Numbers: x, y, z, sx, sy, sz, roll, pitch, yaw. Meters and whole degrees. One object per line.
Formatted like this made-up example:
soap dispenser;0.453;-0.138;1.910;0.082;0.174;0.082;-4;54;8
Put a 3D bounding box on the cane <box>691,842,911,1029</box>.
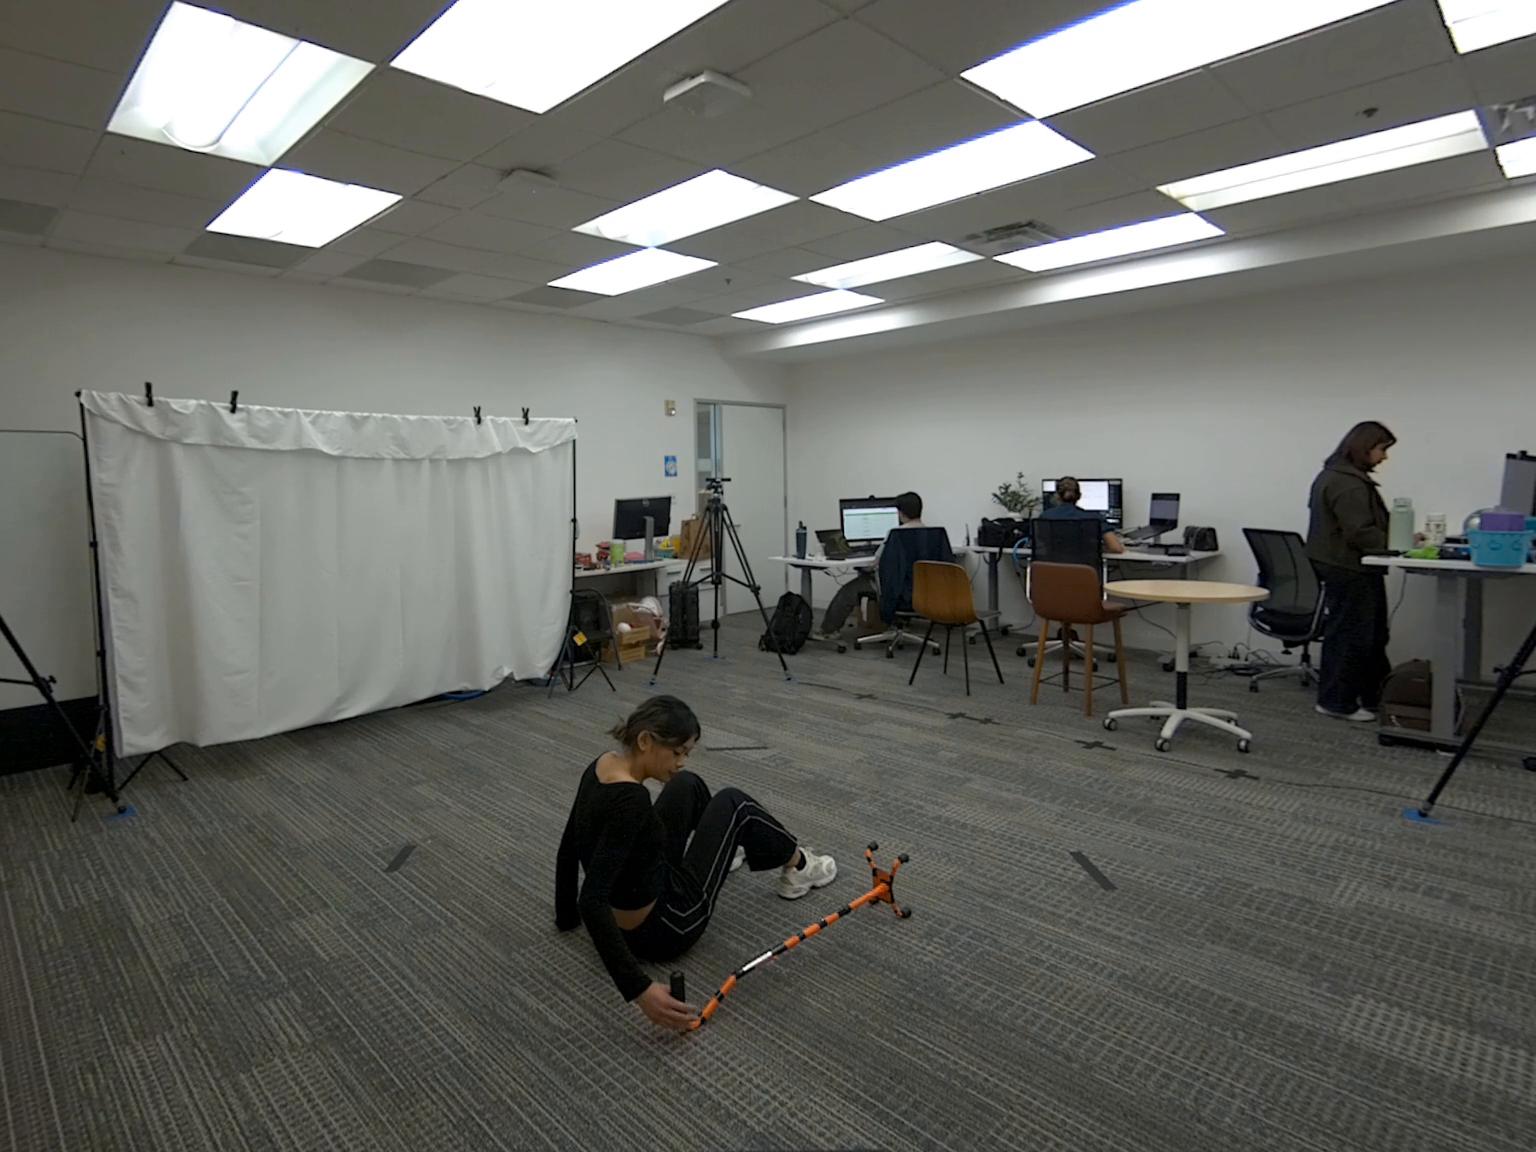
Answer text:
cane;0.083;1.023;2.449;0.886;0.205;0.156;-11;10;-43
